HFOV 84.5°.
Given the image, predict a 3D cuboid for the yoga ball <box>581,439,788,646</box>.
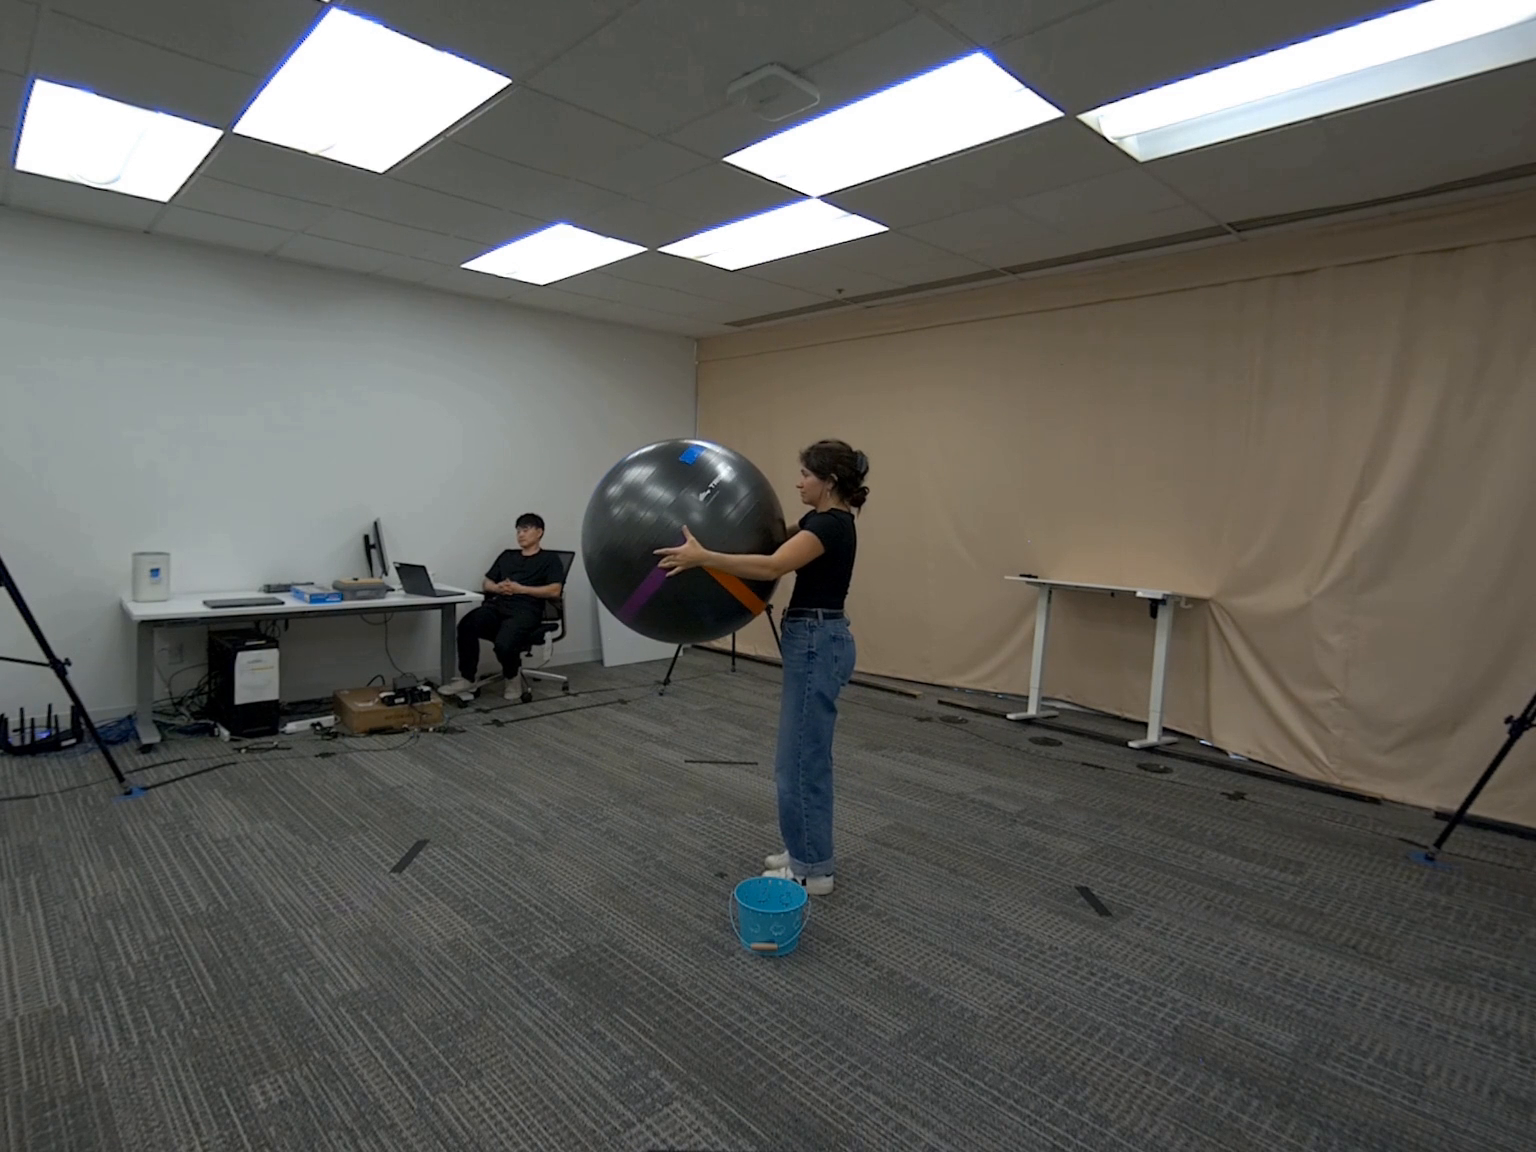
[{"bbox_3d":[-0.323,-0.129,3.110,0.757,0.756,0.761,1,4,-1],"label":"yoga ball"}]
